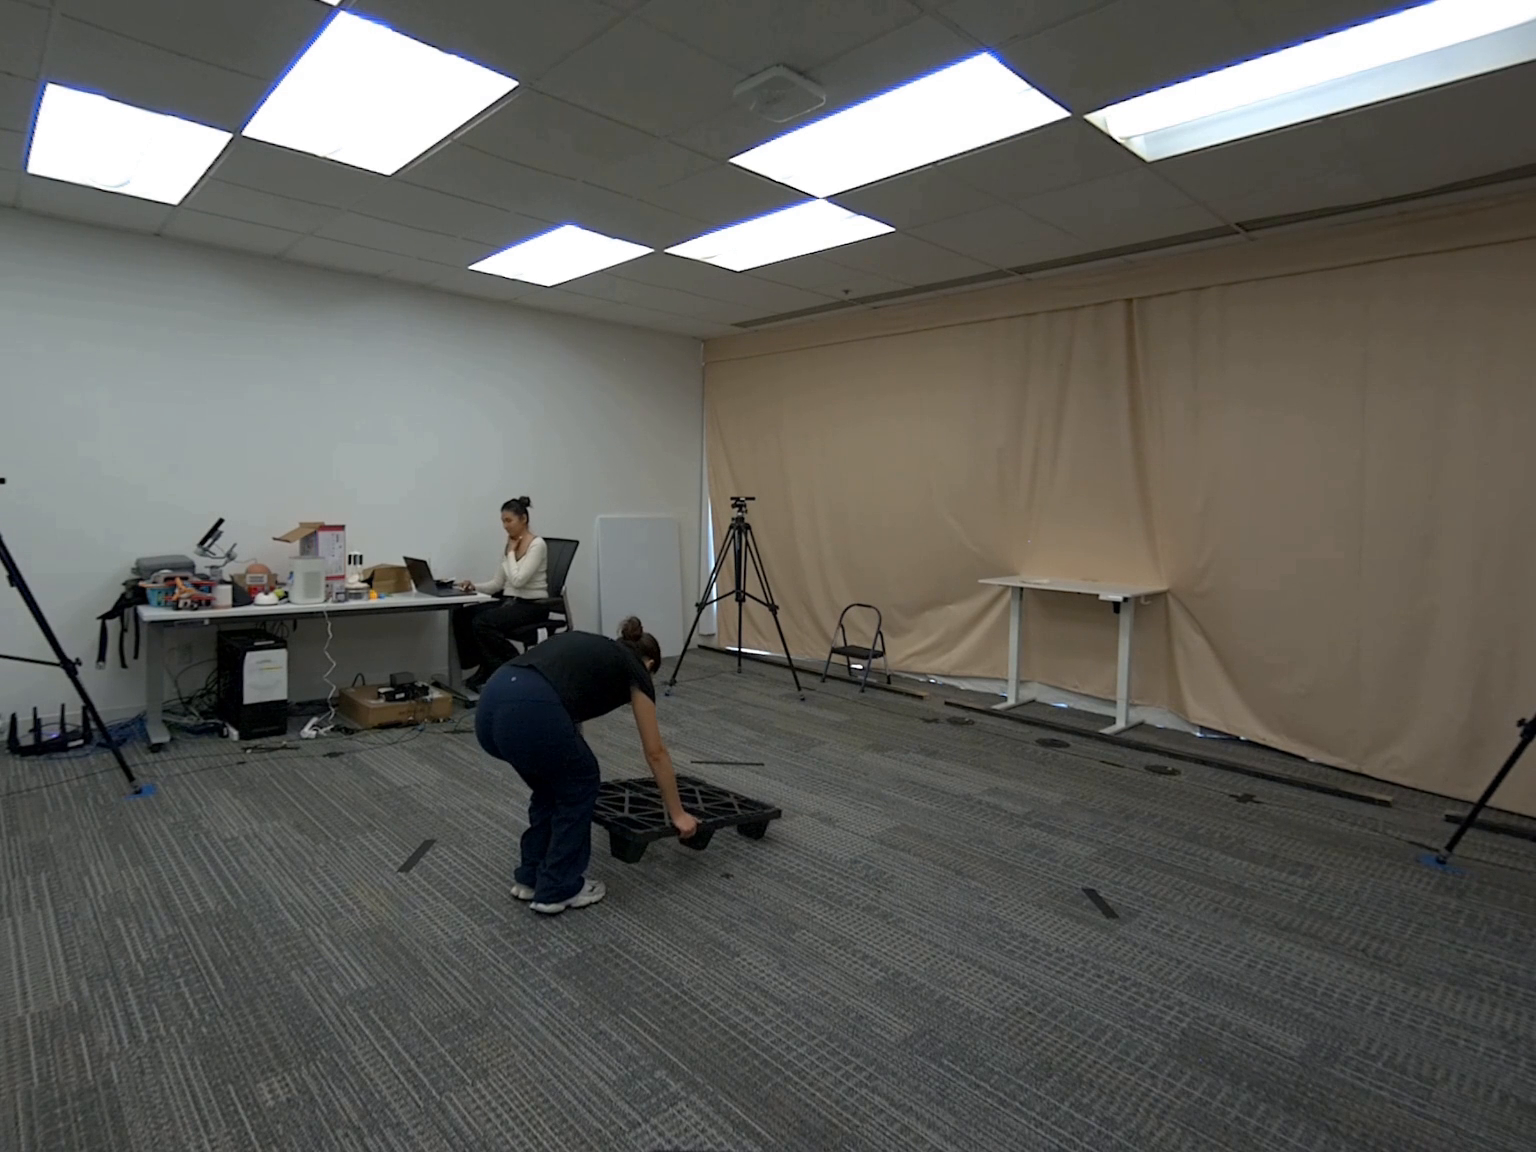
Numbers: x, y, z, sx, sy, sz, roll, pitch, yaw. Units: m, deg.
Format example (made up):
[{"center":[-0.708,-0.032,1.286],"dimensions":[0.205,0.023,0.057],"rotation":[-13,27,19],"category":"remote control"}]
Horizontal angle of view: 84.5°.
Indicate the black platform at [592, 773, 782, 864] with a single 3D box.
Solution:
[{"center":[-0.434,0.960,3.343],"dimensions":[0.620,0.143,0.784],"rotation":[5,-3,41],"category":"black platform"}]
